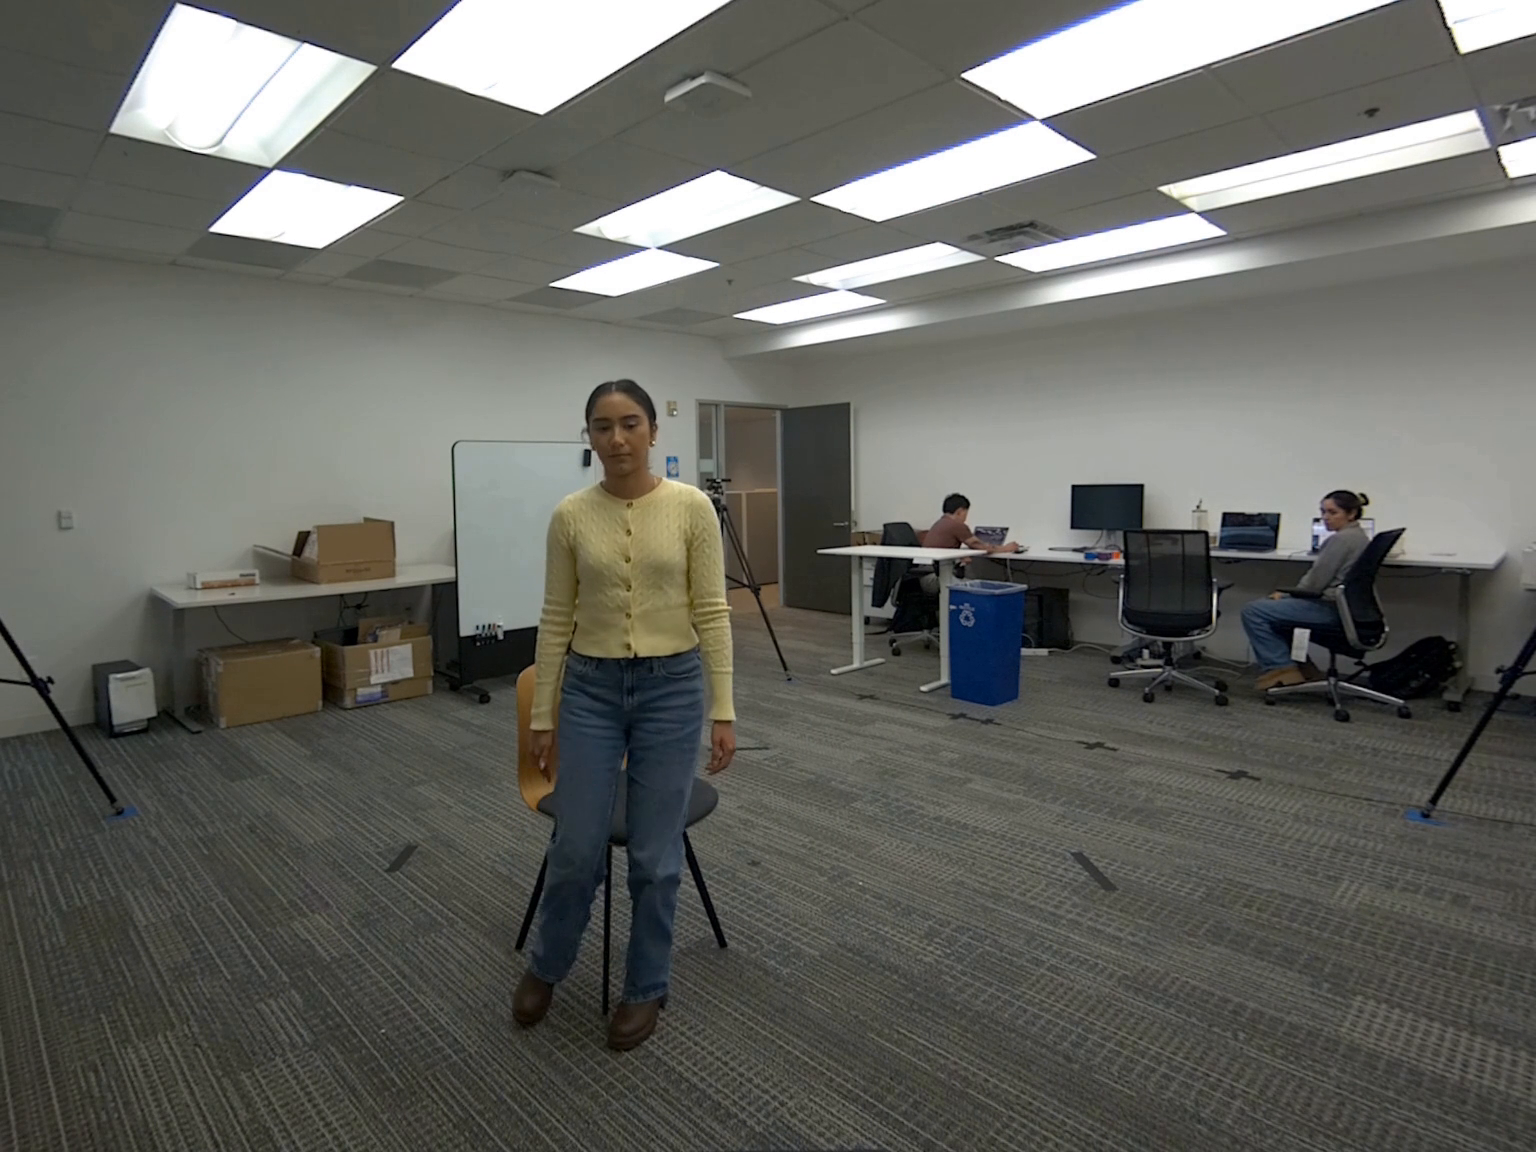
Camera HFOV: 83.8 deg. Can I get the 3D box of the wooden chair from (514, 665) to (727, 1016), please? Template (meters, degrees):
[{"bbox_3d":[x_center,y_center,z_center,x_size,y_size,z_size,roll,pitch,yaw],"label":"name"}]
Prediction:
[{"bbox_3d":[-0.433,0.694,2.520,0.538,0.876,0.465,-2,2,44],"label":"wooden chair"}]
